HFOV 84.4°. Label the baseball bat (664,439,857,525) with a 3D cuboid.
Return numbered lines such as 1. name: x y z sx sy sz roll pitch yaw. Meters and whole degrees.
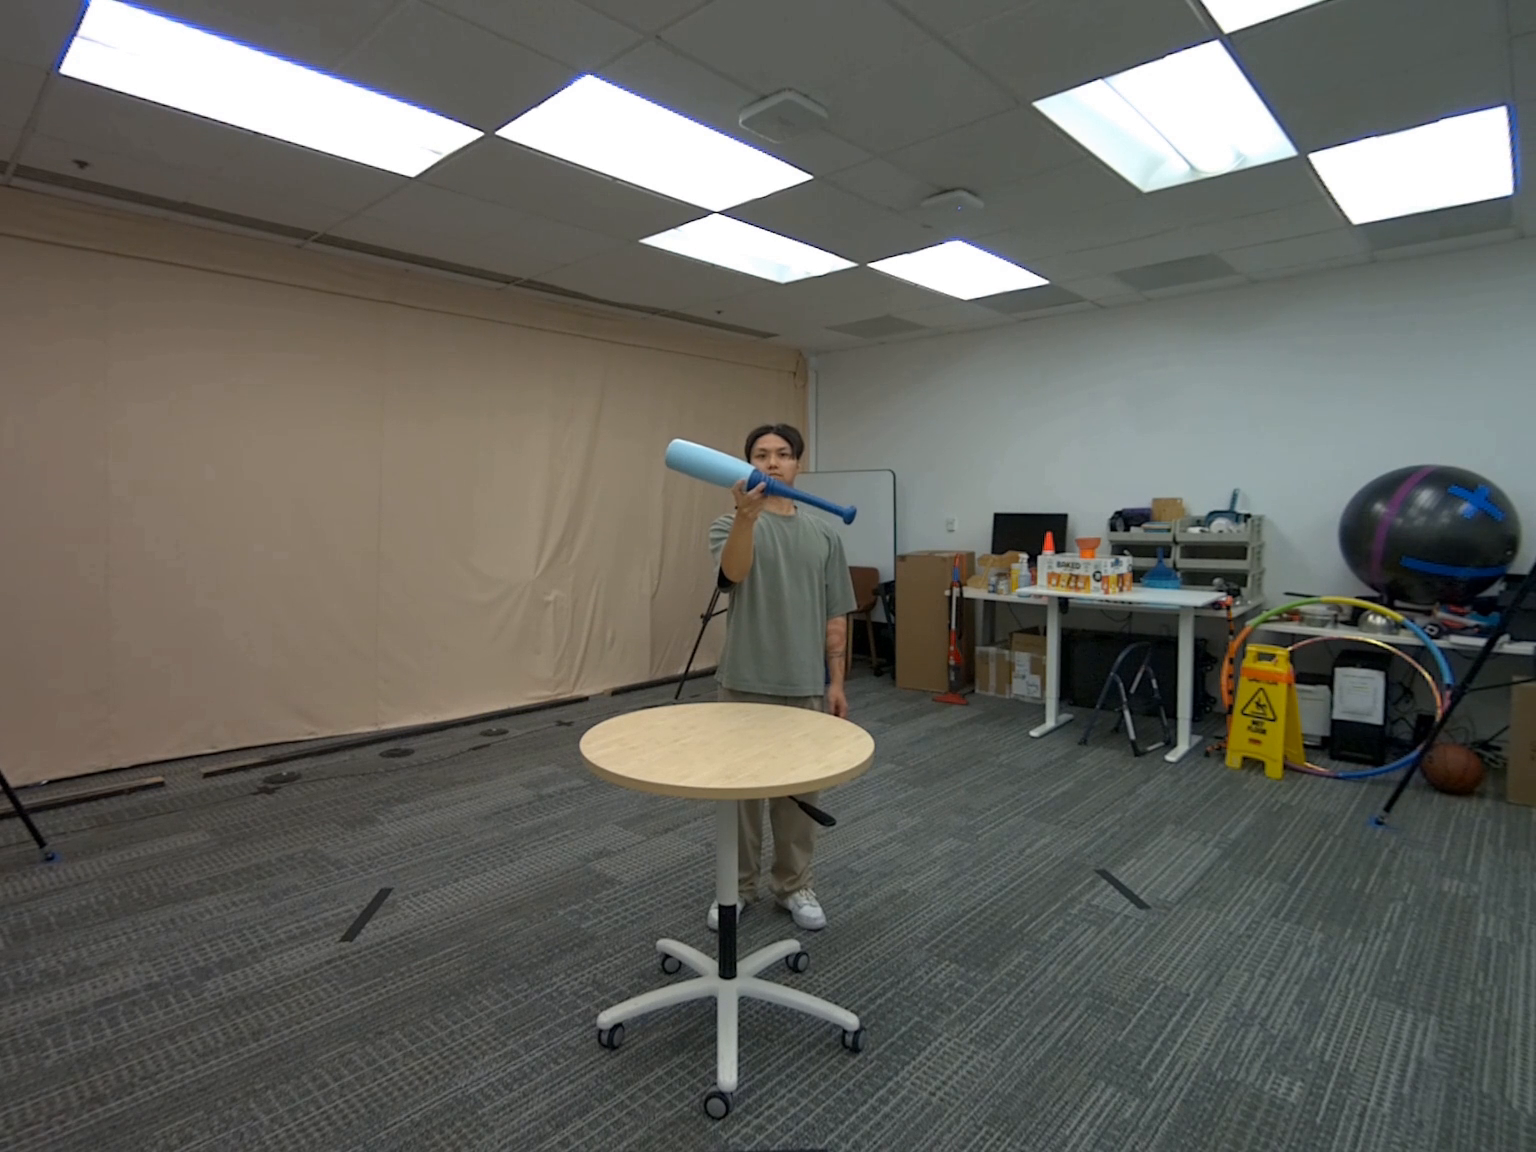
1. baseball bat: -0.016 -0.248 2.242 0.553 0.089 0.087 21 9 15
